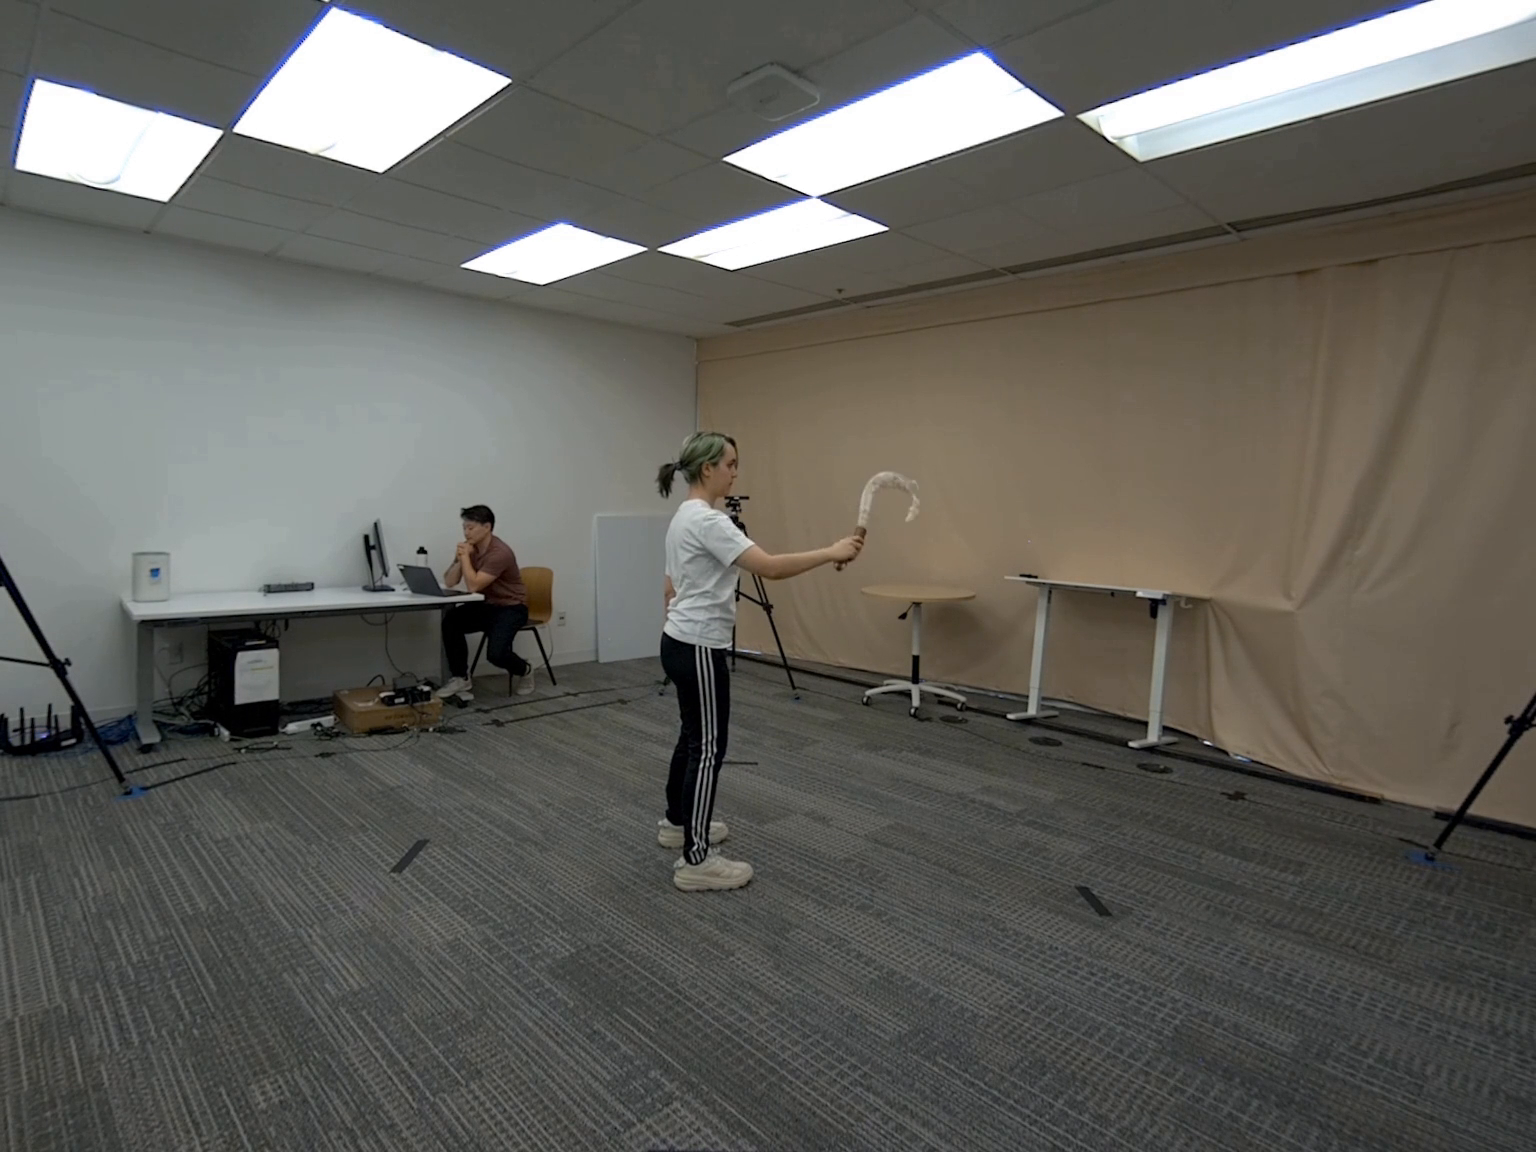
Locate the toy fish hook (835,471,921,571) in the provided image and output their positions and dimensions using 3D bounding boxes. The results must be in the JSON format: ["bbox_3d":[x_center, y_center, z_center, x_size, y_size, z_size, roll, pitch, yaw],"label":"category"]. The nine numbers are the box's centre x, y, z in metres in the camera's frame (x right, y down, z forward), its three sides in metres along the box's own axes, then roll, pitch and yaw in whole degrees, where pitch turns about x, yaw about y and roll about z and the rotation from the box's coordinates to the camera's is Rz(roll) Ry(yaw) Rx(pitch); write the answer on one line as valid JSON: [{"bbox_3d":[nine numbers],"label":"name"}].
[{"bbox_3d":[0.392,-0.186,3.092,0.228,0.509,0.047,21,-29,16],"label":"toy fish hook"}]
